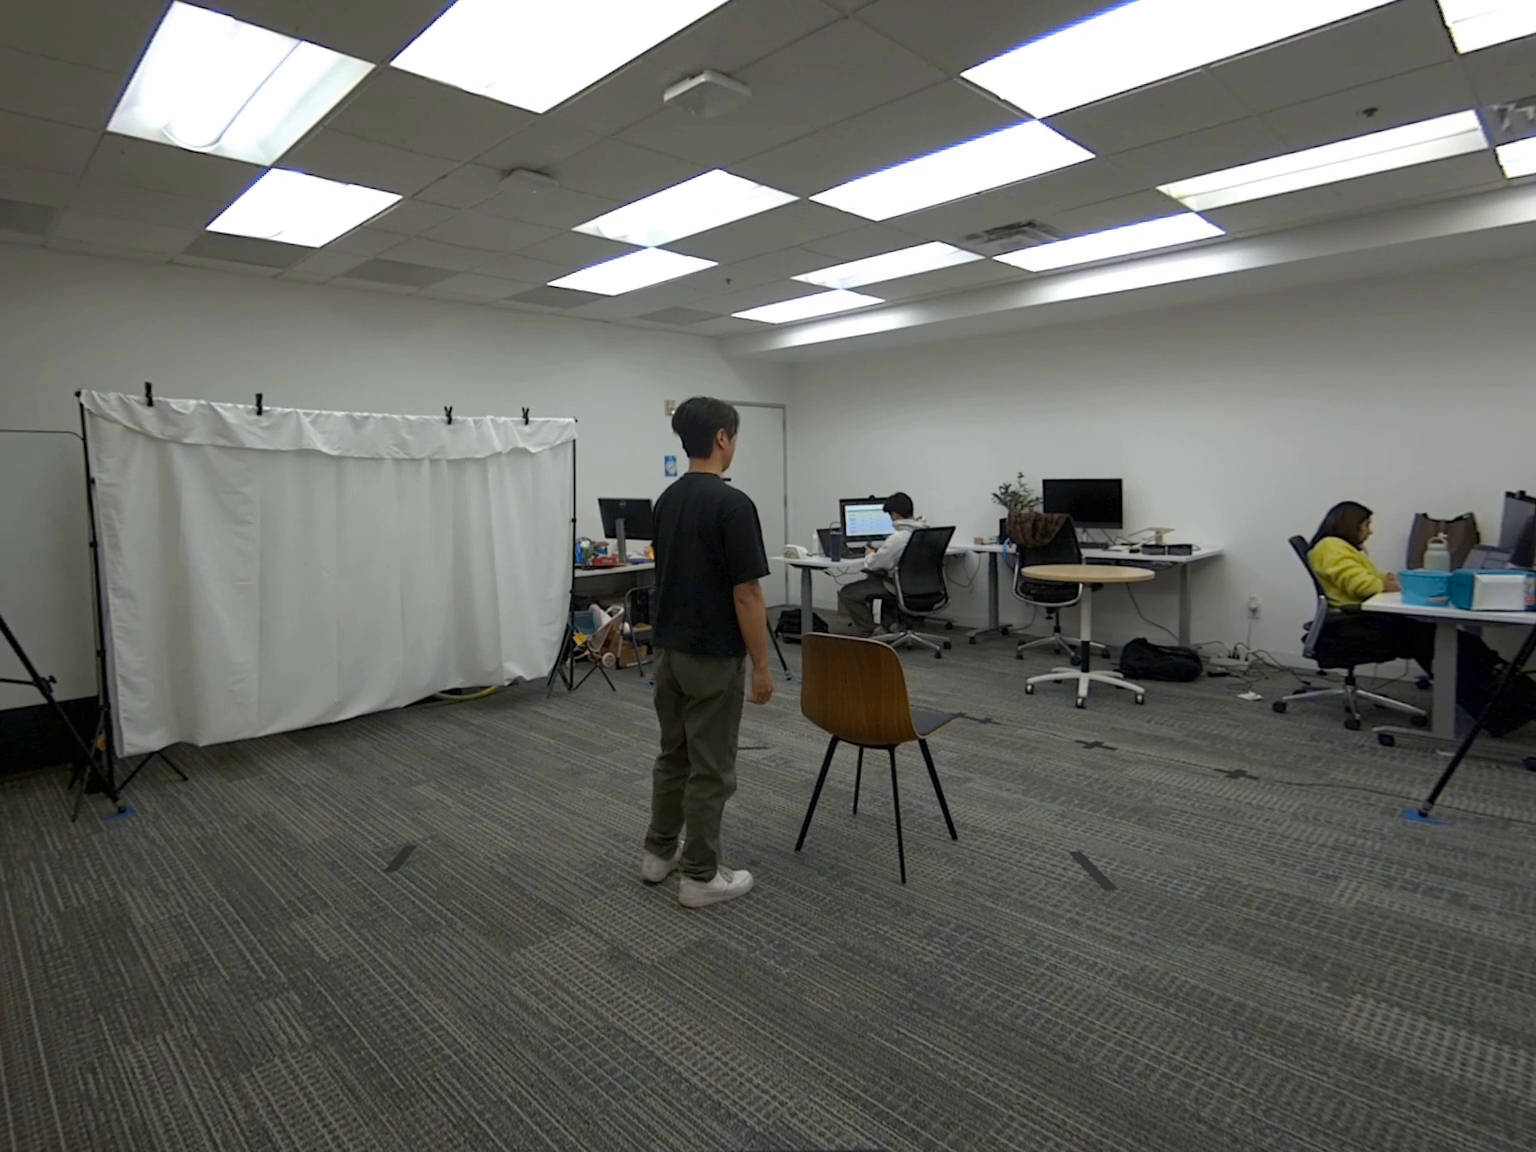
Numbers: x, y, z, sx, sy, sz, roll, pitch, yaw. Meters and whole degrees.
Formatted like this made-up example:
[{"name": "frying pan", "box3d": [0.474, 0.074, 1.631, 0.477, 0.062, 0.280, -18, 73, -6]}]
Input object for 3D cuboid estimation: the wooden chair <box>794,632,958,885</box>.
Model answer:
[{"name": "wooden chair", "box3d": [0.411, 0.594, 3.214, 0.492, 0.871, 0.512, 2, 9, 36]}]
